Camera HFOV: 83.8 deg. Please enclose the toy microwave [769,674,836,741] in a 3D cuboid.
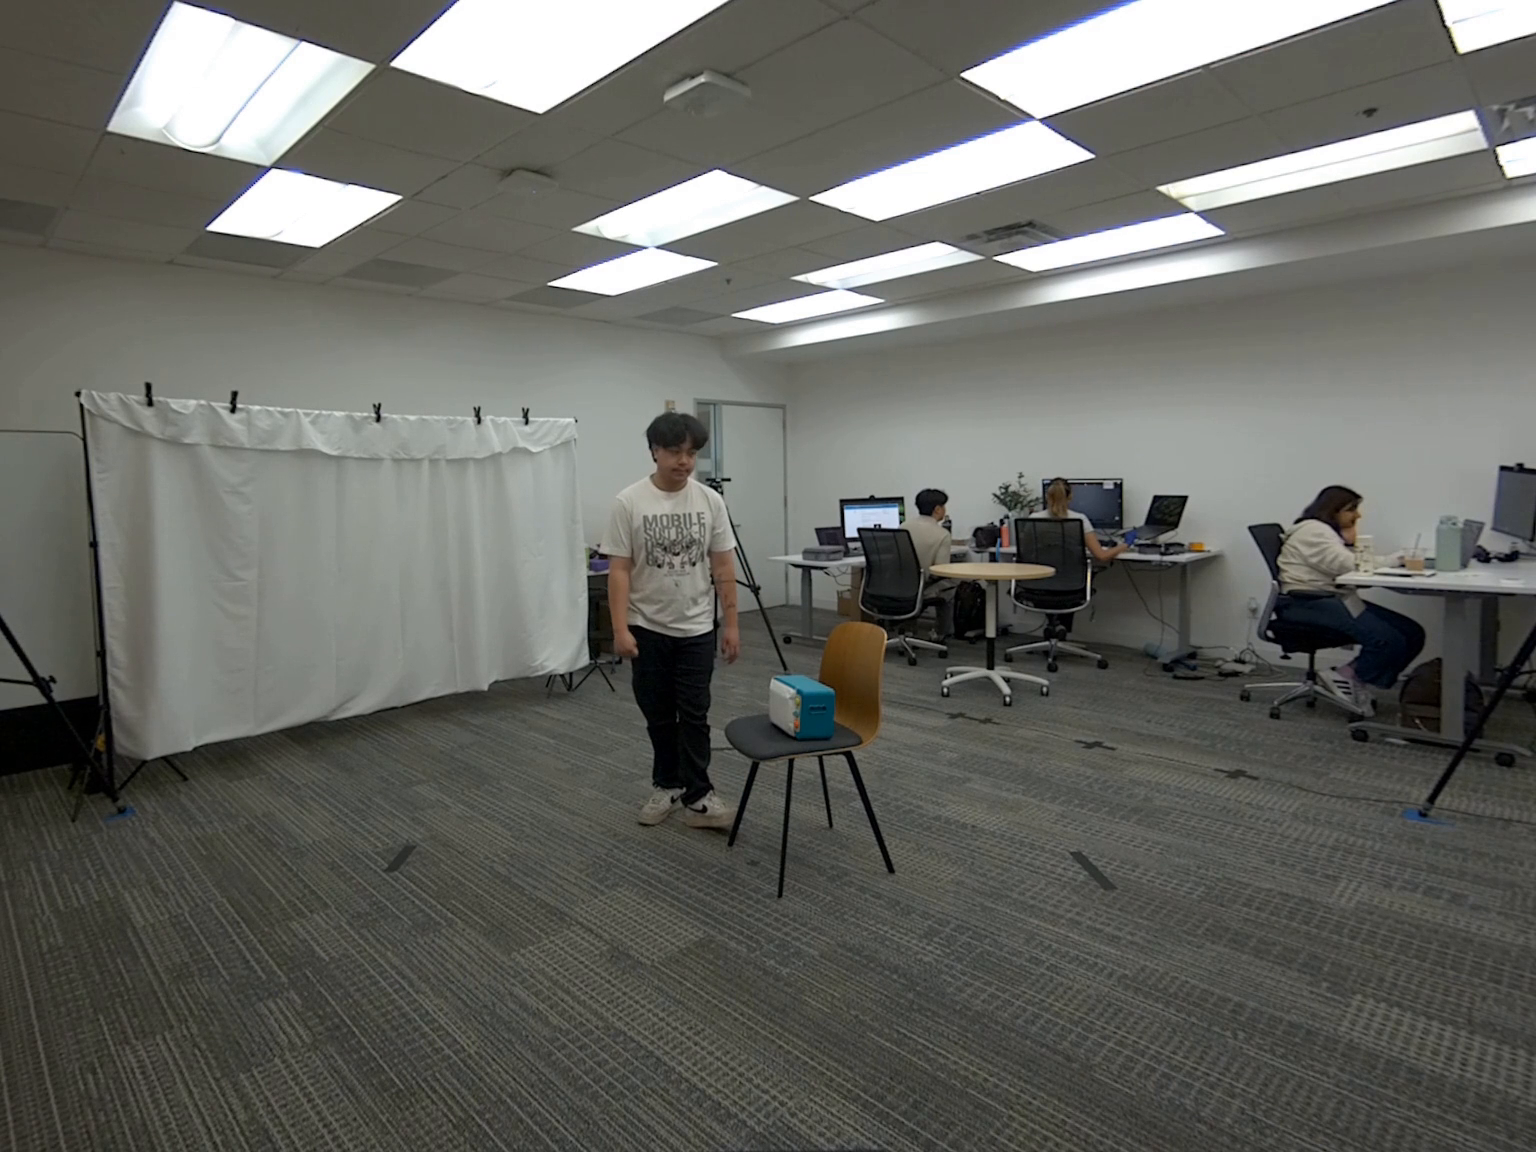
[{"bbox_3d":[0.116,0.469,3.074,0.149,0.184,0.292,2,4,-21],"label":"toy microwave"}]
